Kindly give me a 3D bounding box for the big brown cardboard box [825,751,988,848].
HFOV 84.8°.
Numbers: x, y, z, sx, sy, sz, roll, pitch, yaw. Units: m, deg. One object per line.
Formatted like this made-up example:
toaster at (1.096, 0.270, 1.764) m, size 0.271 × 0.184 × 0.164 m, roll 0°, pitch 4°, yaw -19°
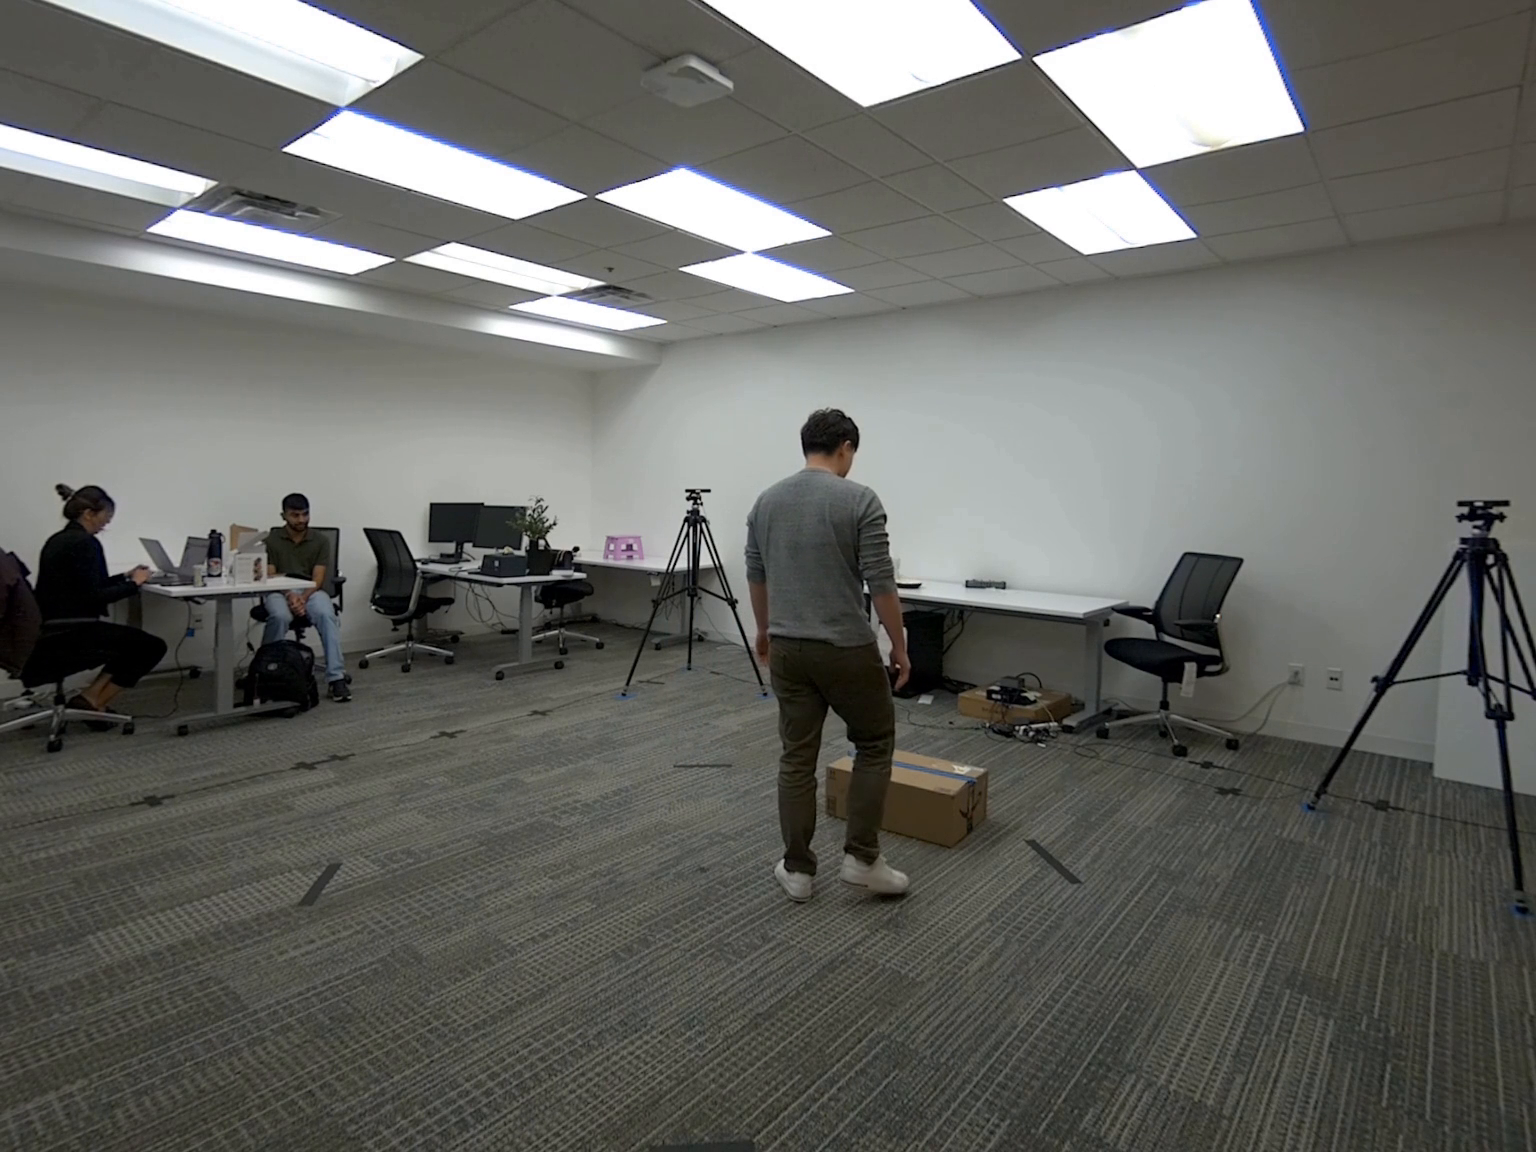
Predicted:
big brown cardboard box at (0.595, 0.926, 3.671) m, size 0.607 × 0.232 × 0.406 m, roll 4°, pitch 5°, yaw 33°
